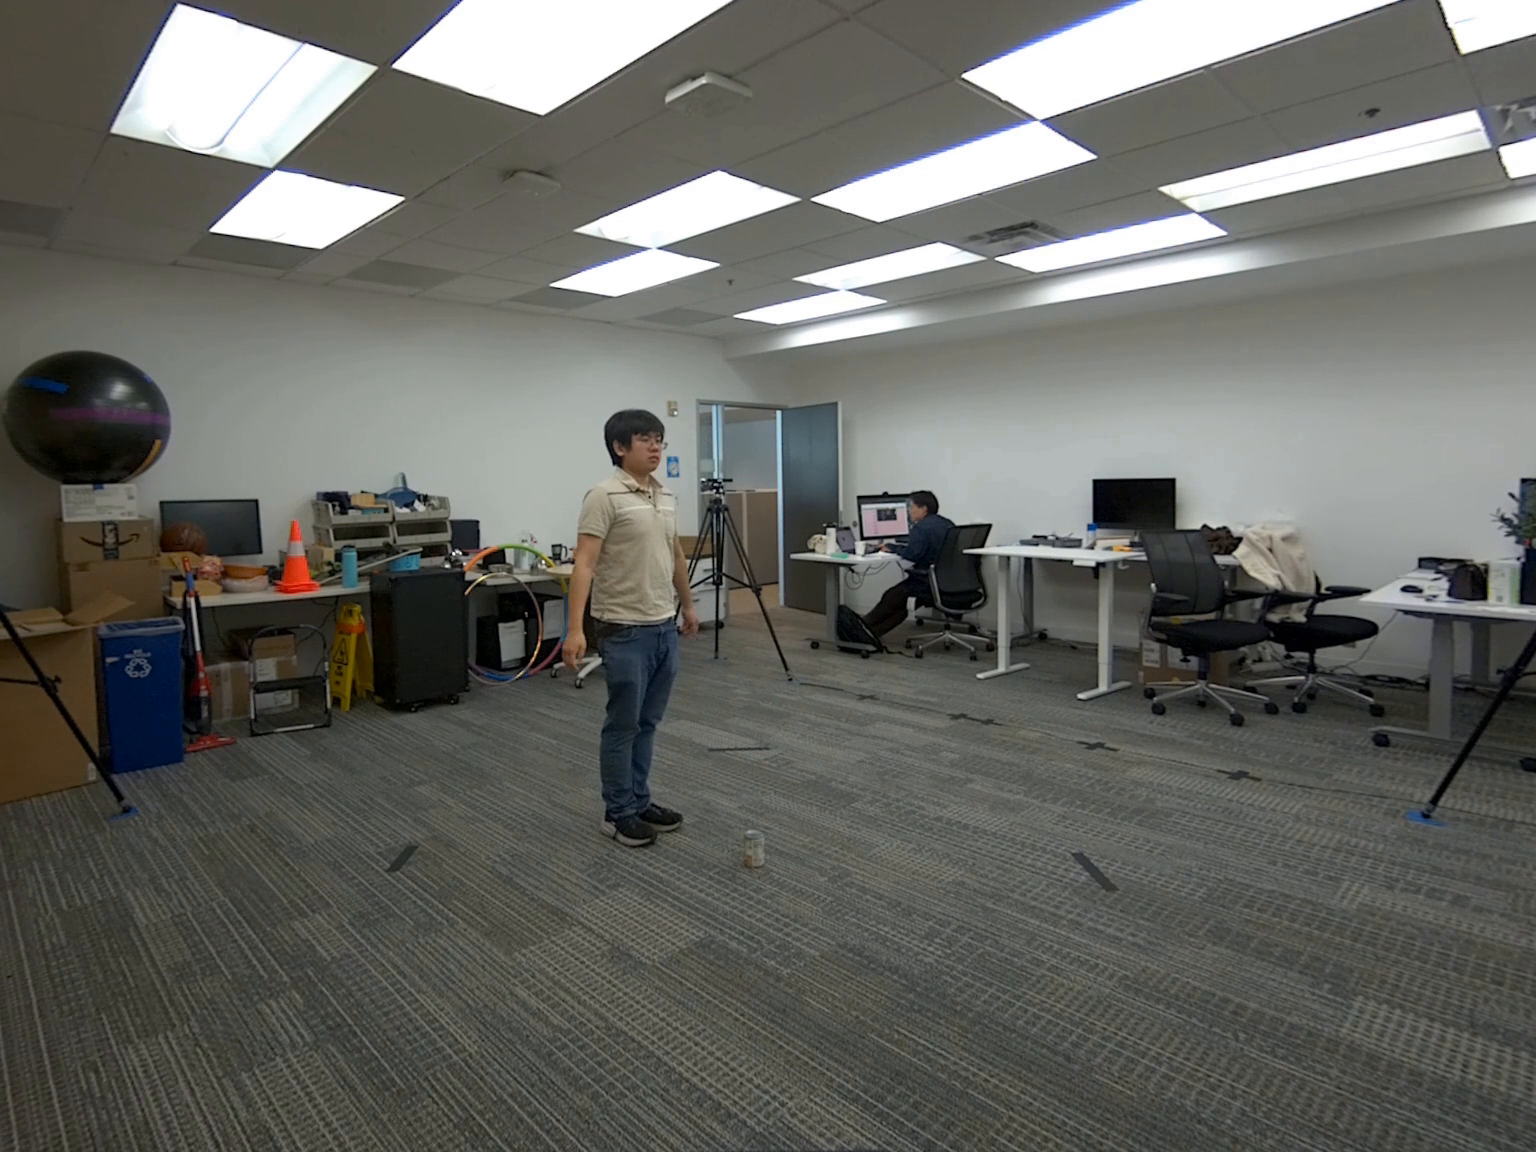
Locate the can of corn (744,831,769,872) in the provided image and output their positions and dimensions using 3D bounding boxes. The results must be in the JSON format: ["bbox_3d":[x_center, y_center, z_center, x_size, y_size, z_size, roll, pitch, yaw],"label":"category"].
[{"bbox_3d":[-0.045,0.992,3.097,0.074,0.110,0.074,4,5,-2],"label":"can of corn"}]
